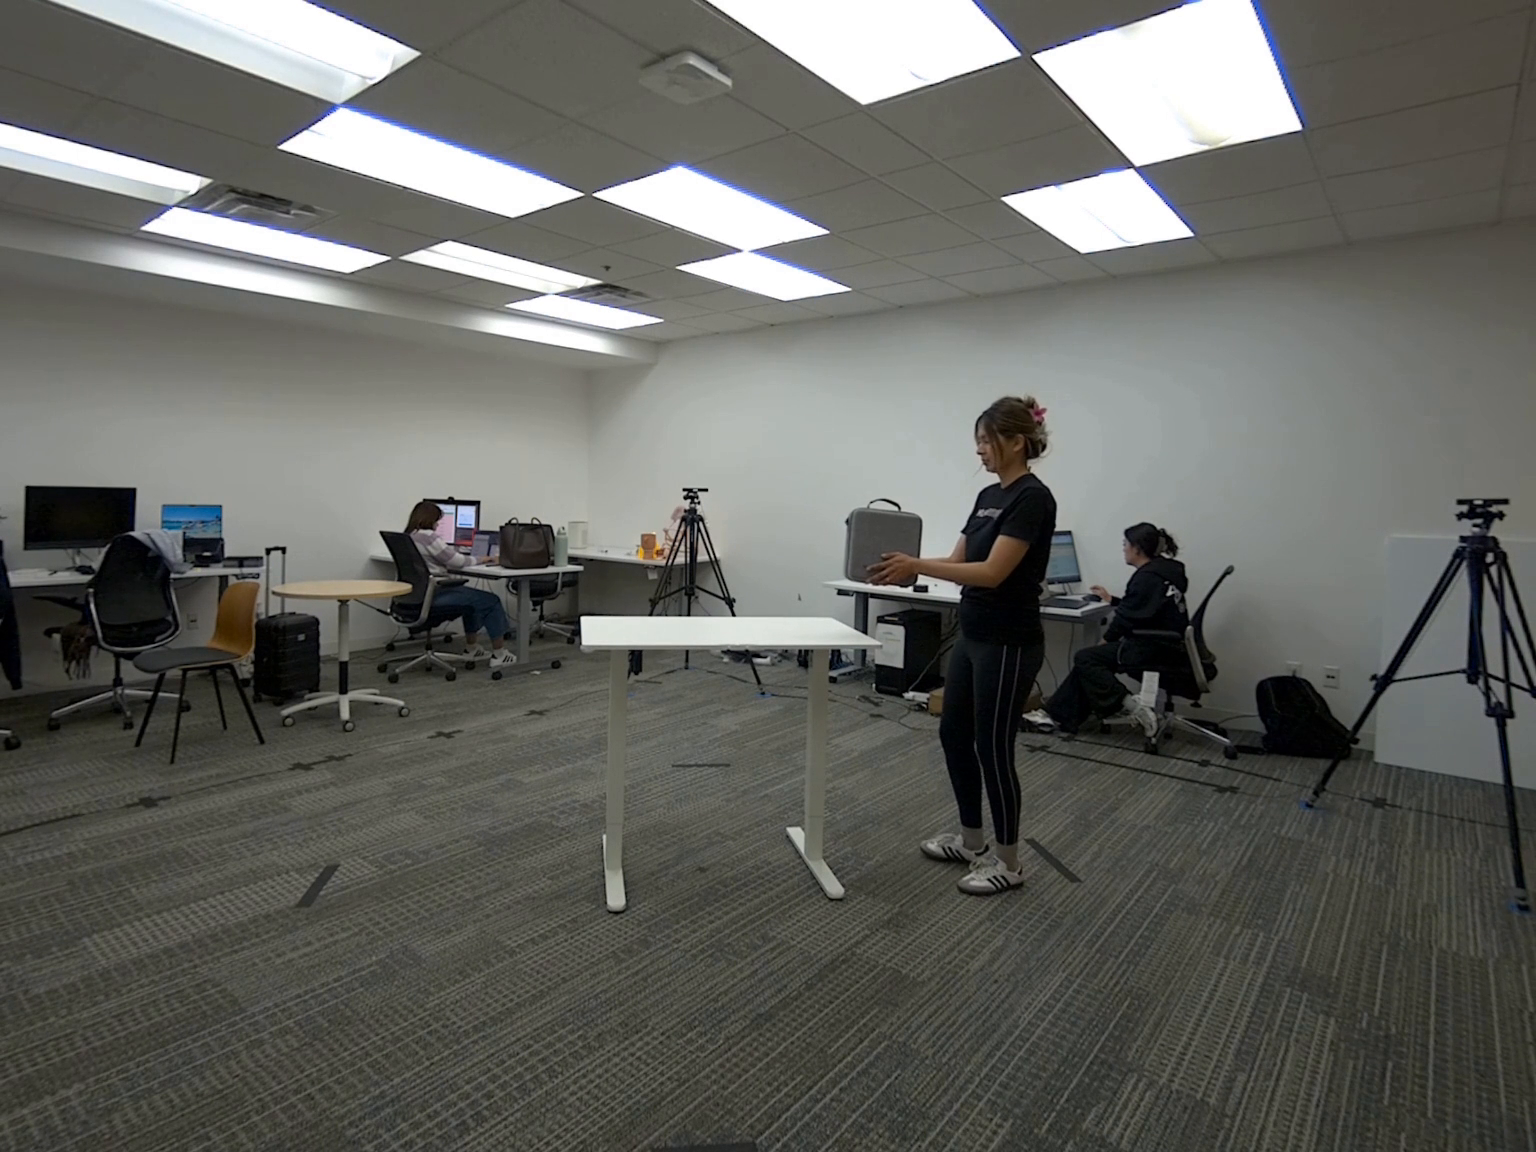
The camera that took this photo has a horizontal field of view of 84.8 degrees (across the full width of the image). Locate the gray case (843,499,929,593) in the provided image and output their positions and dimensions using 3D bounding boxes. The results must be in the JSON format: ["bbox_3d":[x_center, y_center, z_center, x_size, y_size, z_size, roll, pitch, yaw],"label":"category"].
[{"bbox_3d":[0.398,-0.110,2.961,0.255,0.261,0.105,5,-2,-7],"label":"gray case"}]
